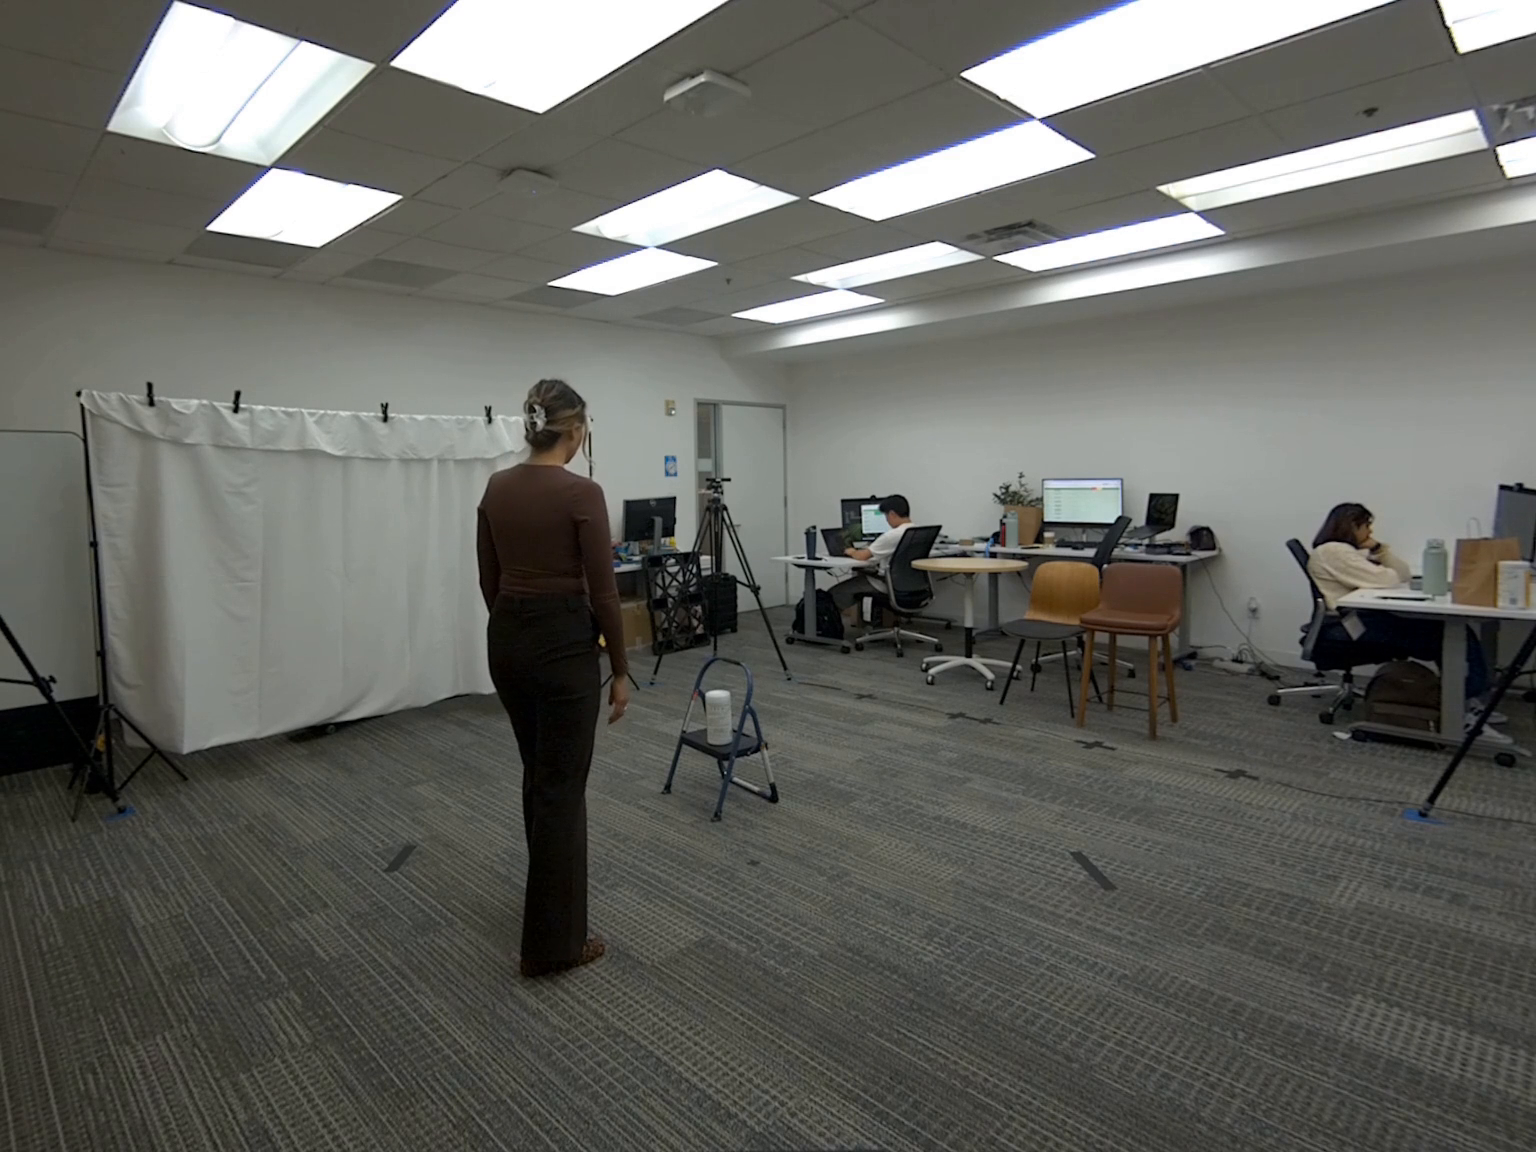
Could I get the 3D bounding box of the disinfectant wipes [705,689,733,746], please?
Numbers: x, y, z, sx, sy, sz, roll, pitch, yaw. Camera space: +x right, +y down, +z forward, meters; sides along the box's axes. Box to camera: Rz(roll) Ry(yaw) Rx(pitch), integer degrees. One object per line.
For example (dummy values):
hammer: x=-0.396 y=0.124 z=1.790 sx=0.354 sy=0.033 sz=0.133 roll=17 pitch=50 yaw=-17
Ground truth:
disinfectant wipes: x=-0.207 y=0.613 z=3.696 sx=0.118 sy=0.217 sz=0.118 roll=-4 pitch=3 yaw=-1
